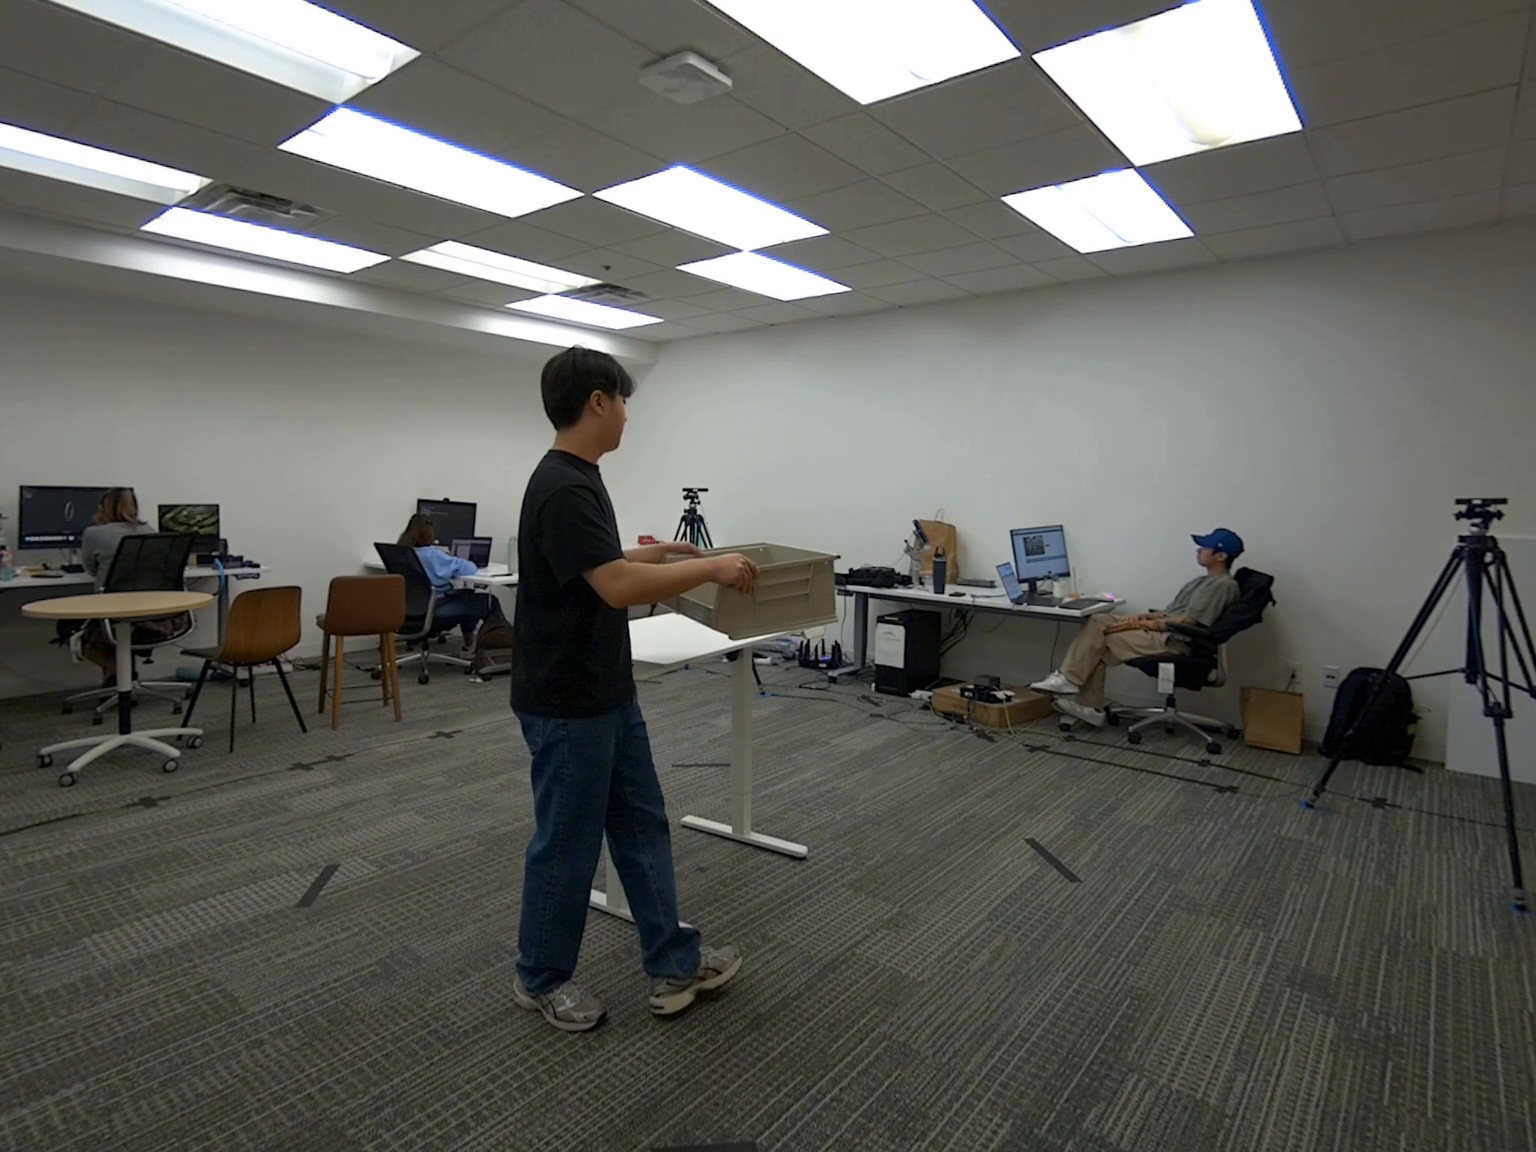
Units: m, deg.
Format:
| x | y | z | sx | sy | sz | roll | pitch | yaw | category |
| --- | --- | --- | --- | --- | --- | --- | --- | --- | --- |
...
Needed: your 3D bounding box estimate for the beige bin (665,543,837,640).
| x | y | z | sx | sy | sz | roll | pitch | yaw | category |
| --- | --- | --- | --- | --- | --- | --- | --- | --- | --- |
| -0.077 | 0.031 | 2.363 | 0.369 | 0.188 | 0.434 | -6 | 8 | -24 | beige bin |
